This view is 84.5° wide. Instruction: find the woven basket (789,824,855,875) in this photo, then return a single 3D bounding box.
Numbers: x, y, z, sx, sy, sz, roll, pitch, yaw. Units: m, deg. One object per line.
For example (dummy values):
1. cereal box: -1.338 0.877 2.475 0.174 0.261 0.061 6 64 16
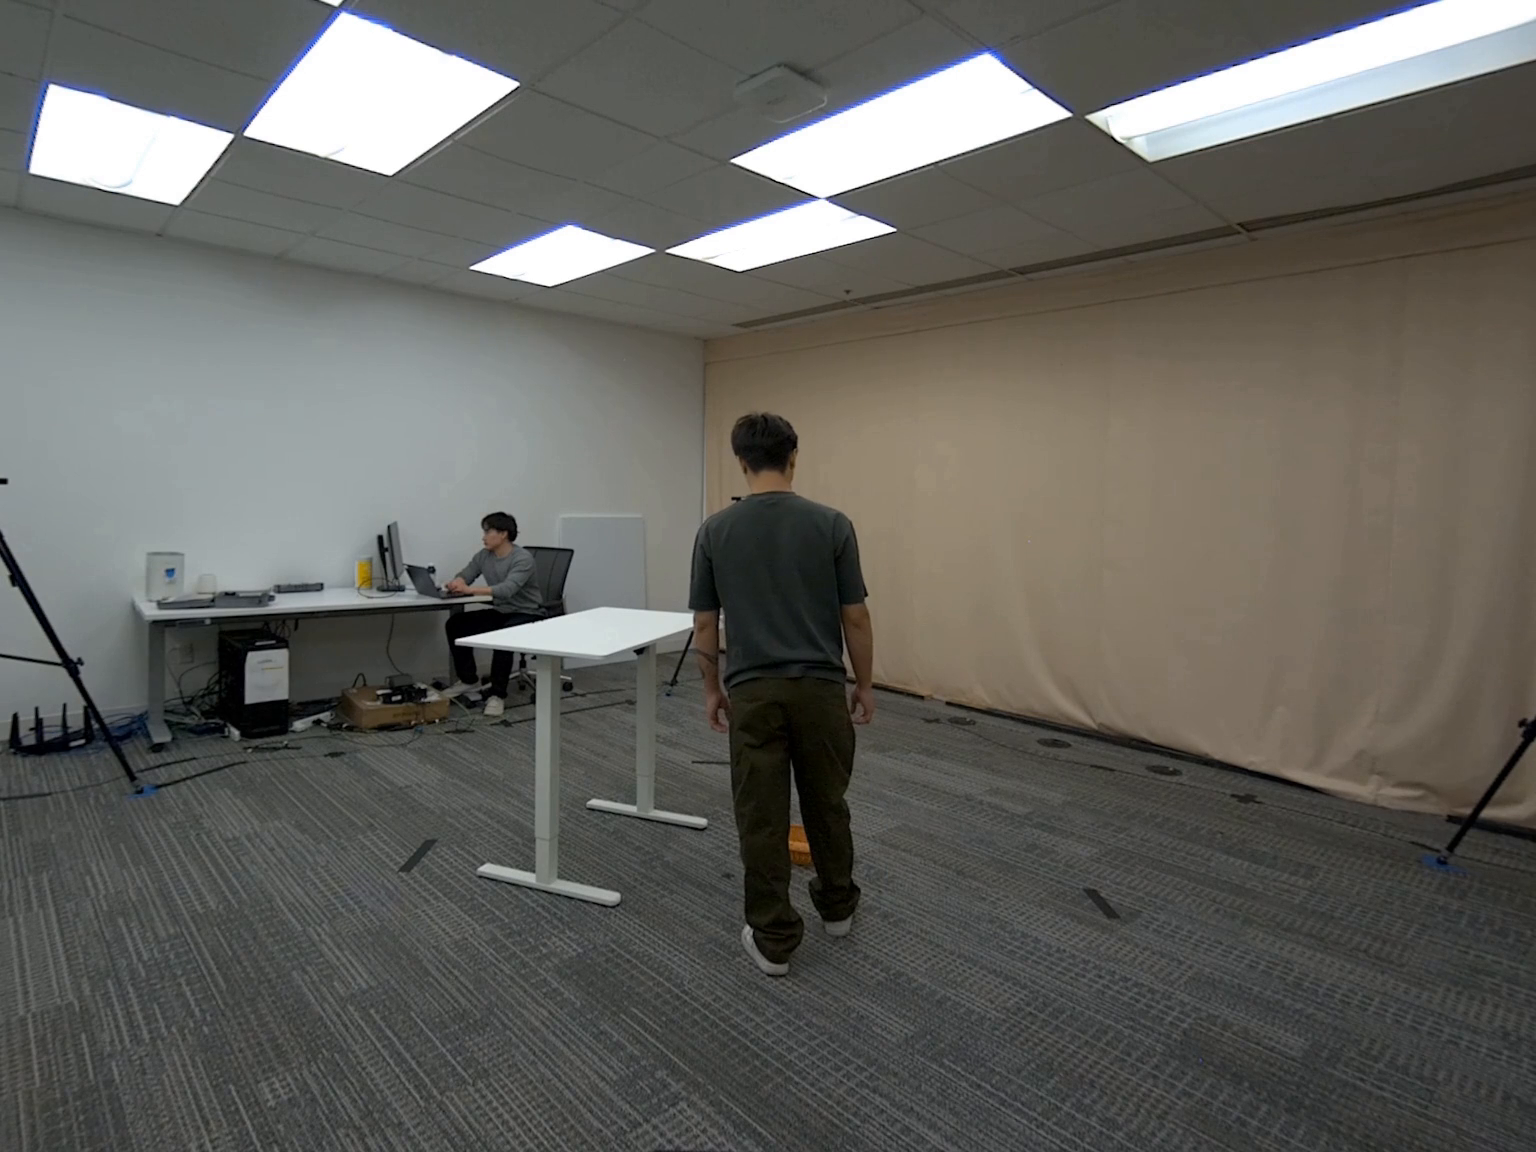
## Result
1. woven basket: 0.133 1.062 3.302 0.356 0.073 0.249 3 5 20
